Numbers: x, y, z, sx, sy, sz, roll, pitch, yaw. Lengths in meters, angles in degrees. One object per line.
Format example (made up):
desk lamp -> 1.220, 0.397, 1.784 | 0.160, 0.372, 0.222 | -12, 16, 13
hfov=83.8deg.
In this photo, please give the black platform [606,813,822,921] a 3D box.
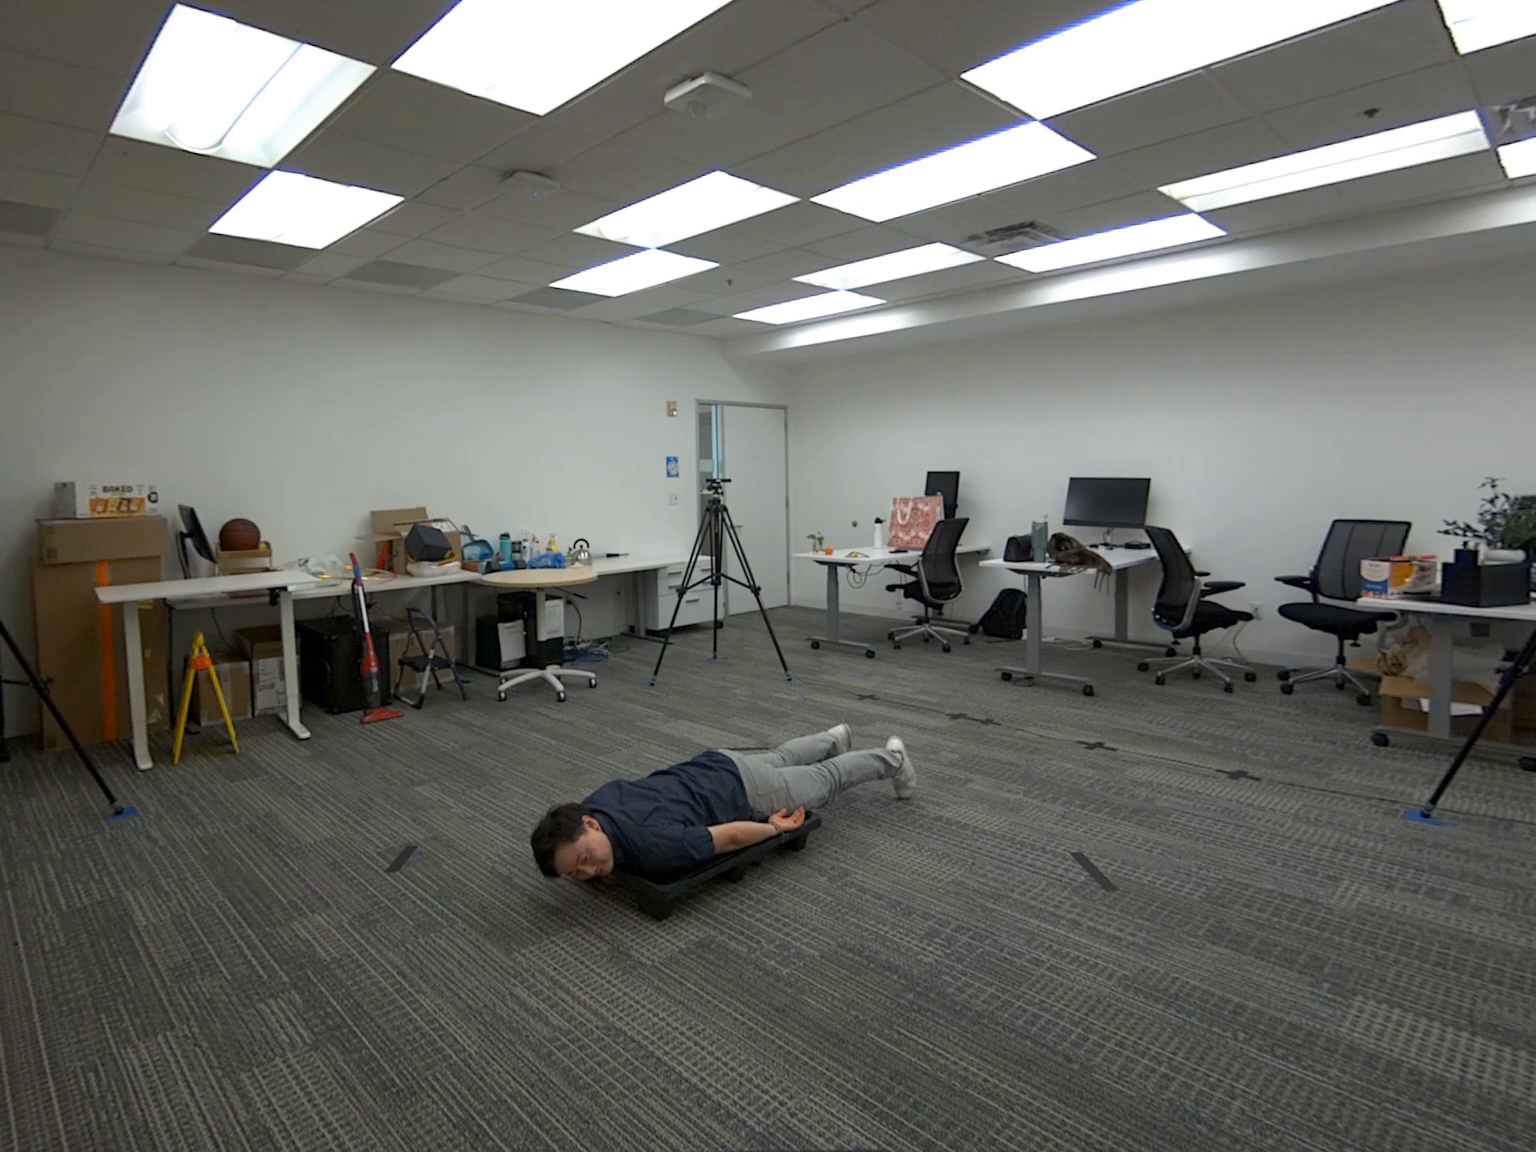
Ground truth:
black platform -> -0.279, 0.985, 3.135 | 0.624, 0.142, 0.785 | 5, 9, 42
